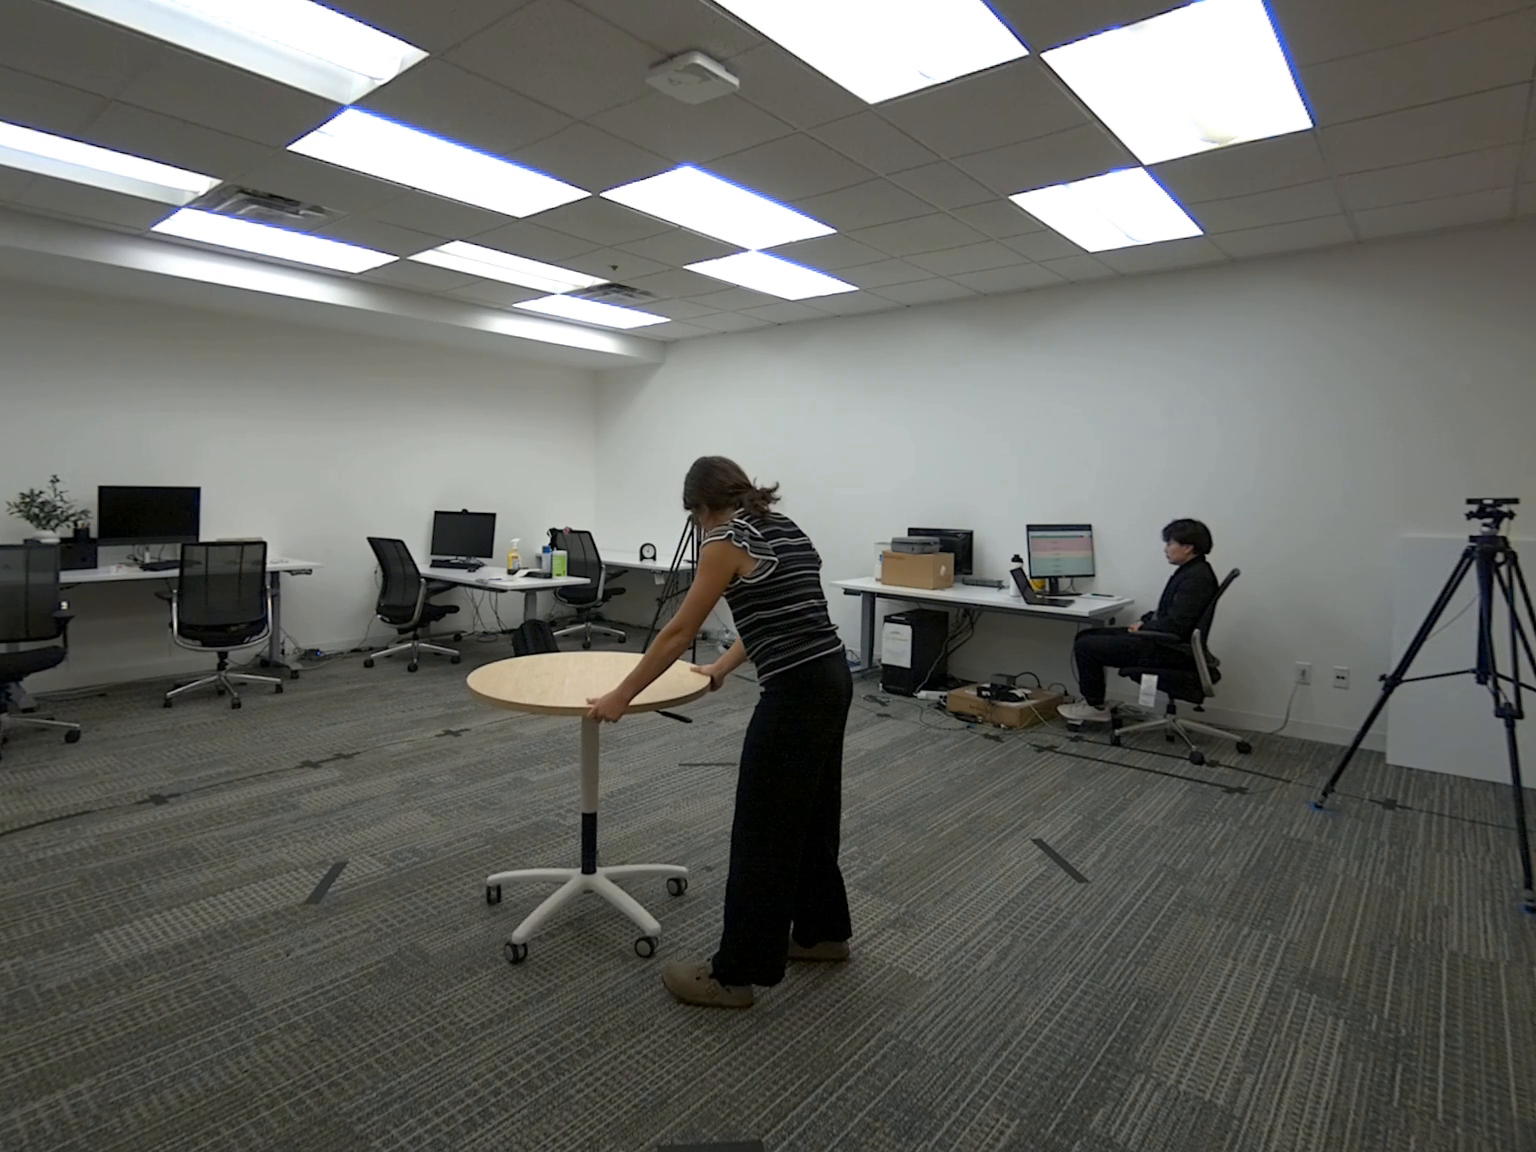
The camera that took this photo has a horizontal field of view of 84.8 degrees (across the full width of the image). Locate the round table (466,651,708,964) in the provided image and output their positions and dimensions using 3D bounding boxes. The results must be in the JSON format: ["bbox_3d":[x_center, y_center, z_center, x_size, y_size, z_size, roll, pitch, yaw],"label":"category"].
[{"bbox_3d":[-0.589,0.708,2.750,0.763,0.791,0.768,1,5,-2],"label":"round table"}]
